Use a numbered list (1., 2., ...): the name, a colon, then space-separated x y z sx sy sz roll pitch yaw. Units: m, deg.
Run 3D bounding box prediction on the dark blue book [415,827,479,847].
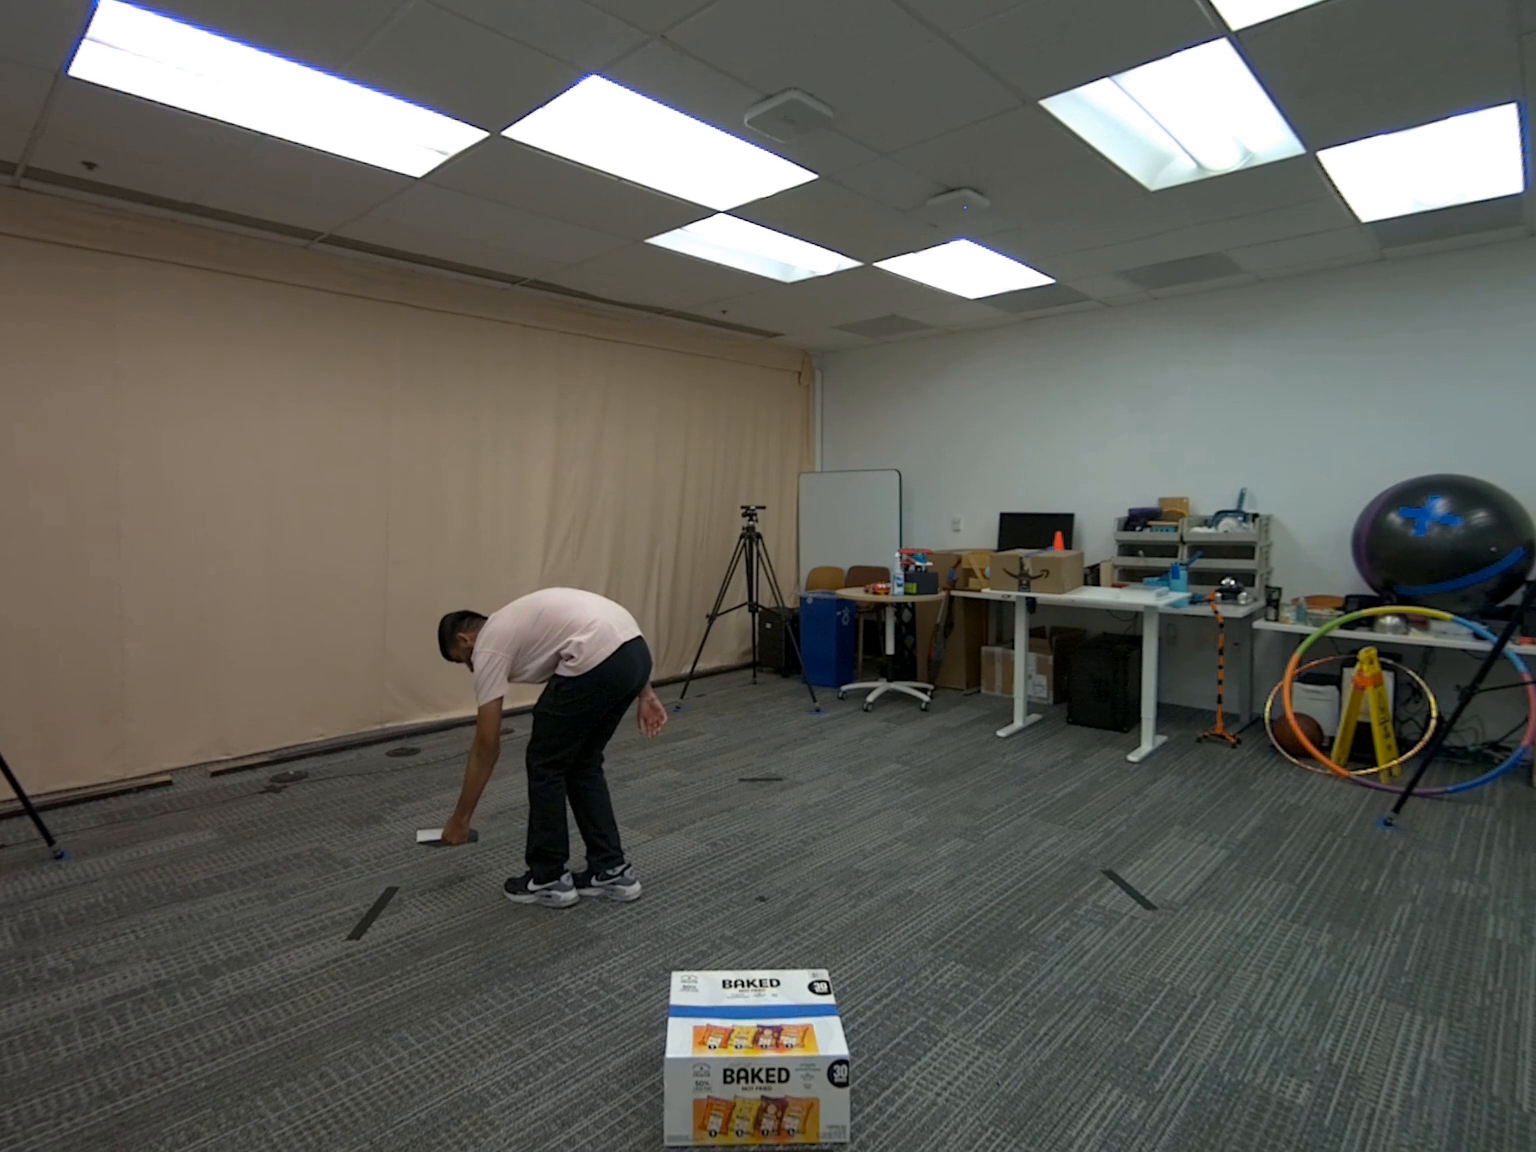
1. dark blue book: -1.174 0.946 3.073 0.162 0.046 0.243 -3 -20 -7
